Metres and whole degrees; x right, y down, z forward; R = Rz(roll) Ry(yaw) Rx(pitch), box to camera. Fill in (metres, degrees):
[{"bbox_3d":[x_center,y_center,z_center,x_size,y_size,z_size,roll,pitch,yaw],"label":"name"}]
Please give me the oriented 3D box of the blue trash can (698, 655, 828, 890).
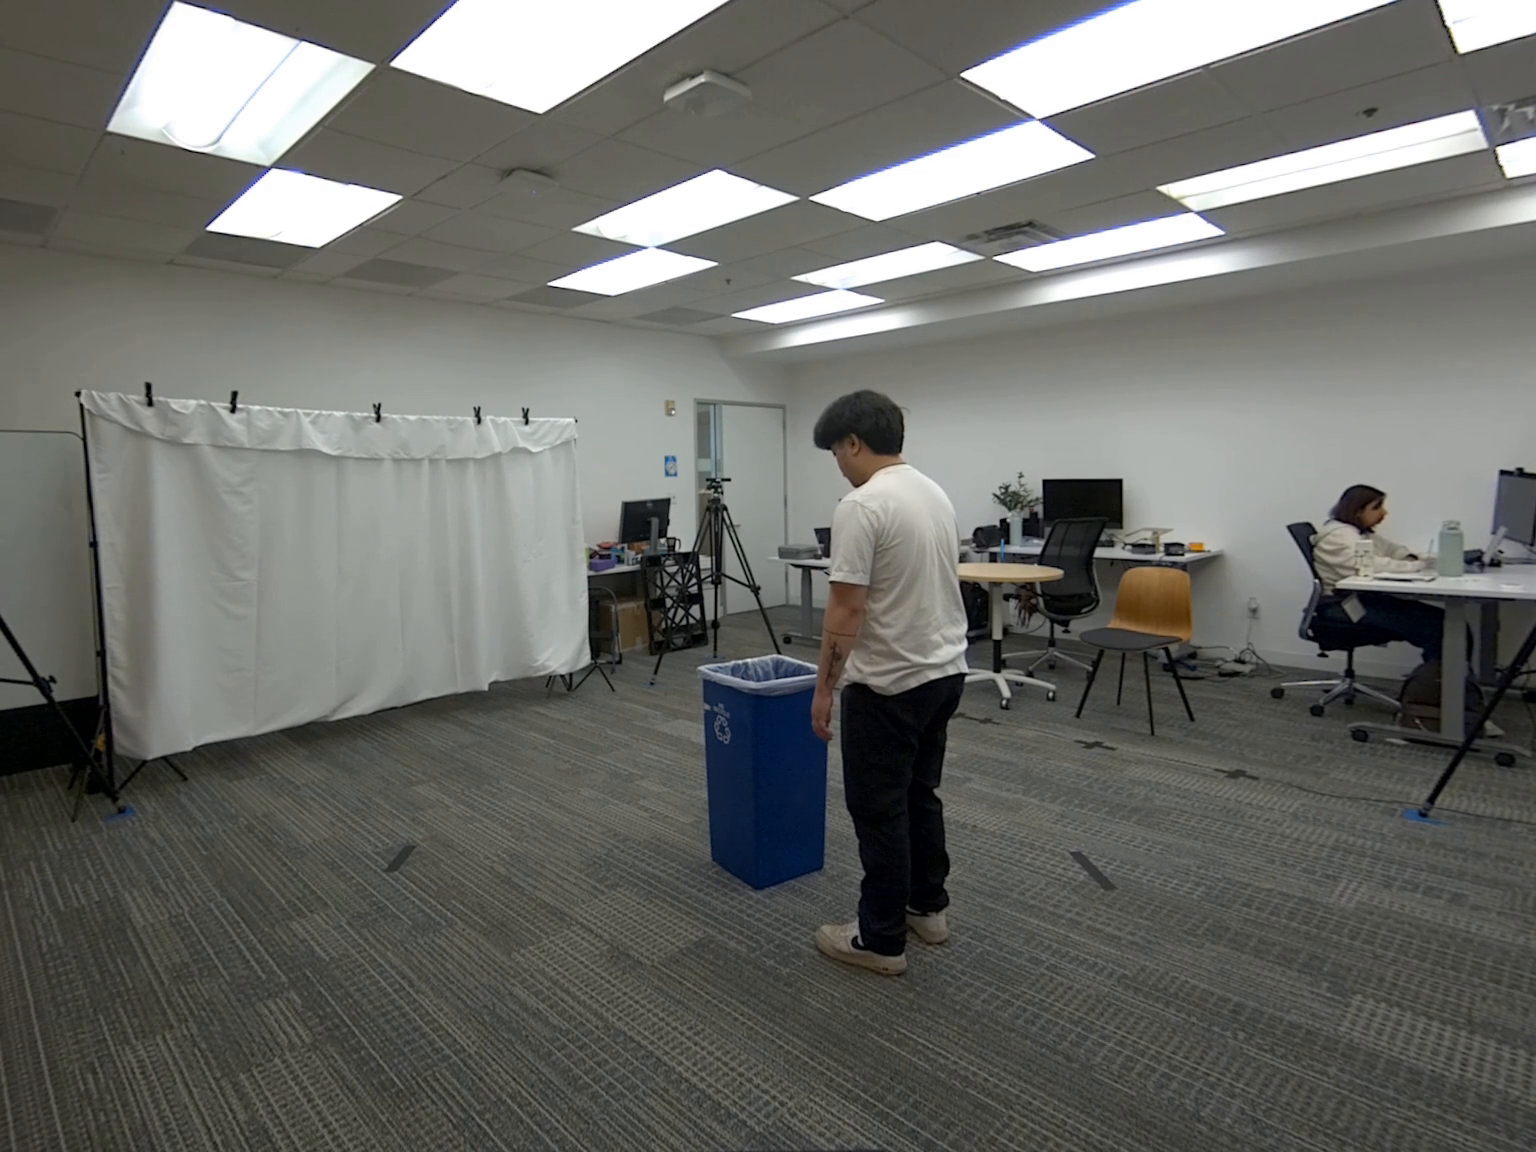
[{"bbox_3d":[0.000,0.687,3.070,0.368,0.711,0.385,-4,5,-35],"label":"blue trash can"}]
